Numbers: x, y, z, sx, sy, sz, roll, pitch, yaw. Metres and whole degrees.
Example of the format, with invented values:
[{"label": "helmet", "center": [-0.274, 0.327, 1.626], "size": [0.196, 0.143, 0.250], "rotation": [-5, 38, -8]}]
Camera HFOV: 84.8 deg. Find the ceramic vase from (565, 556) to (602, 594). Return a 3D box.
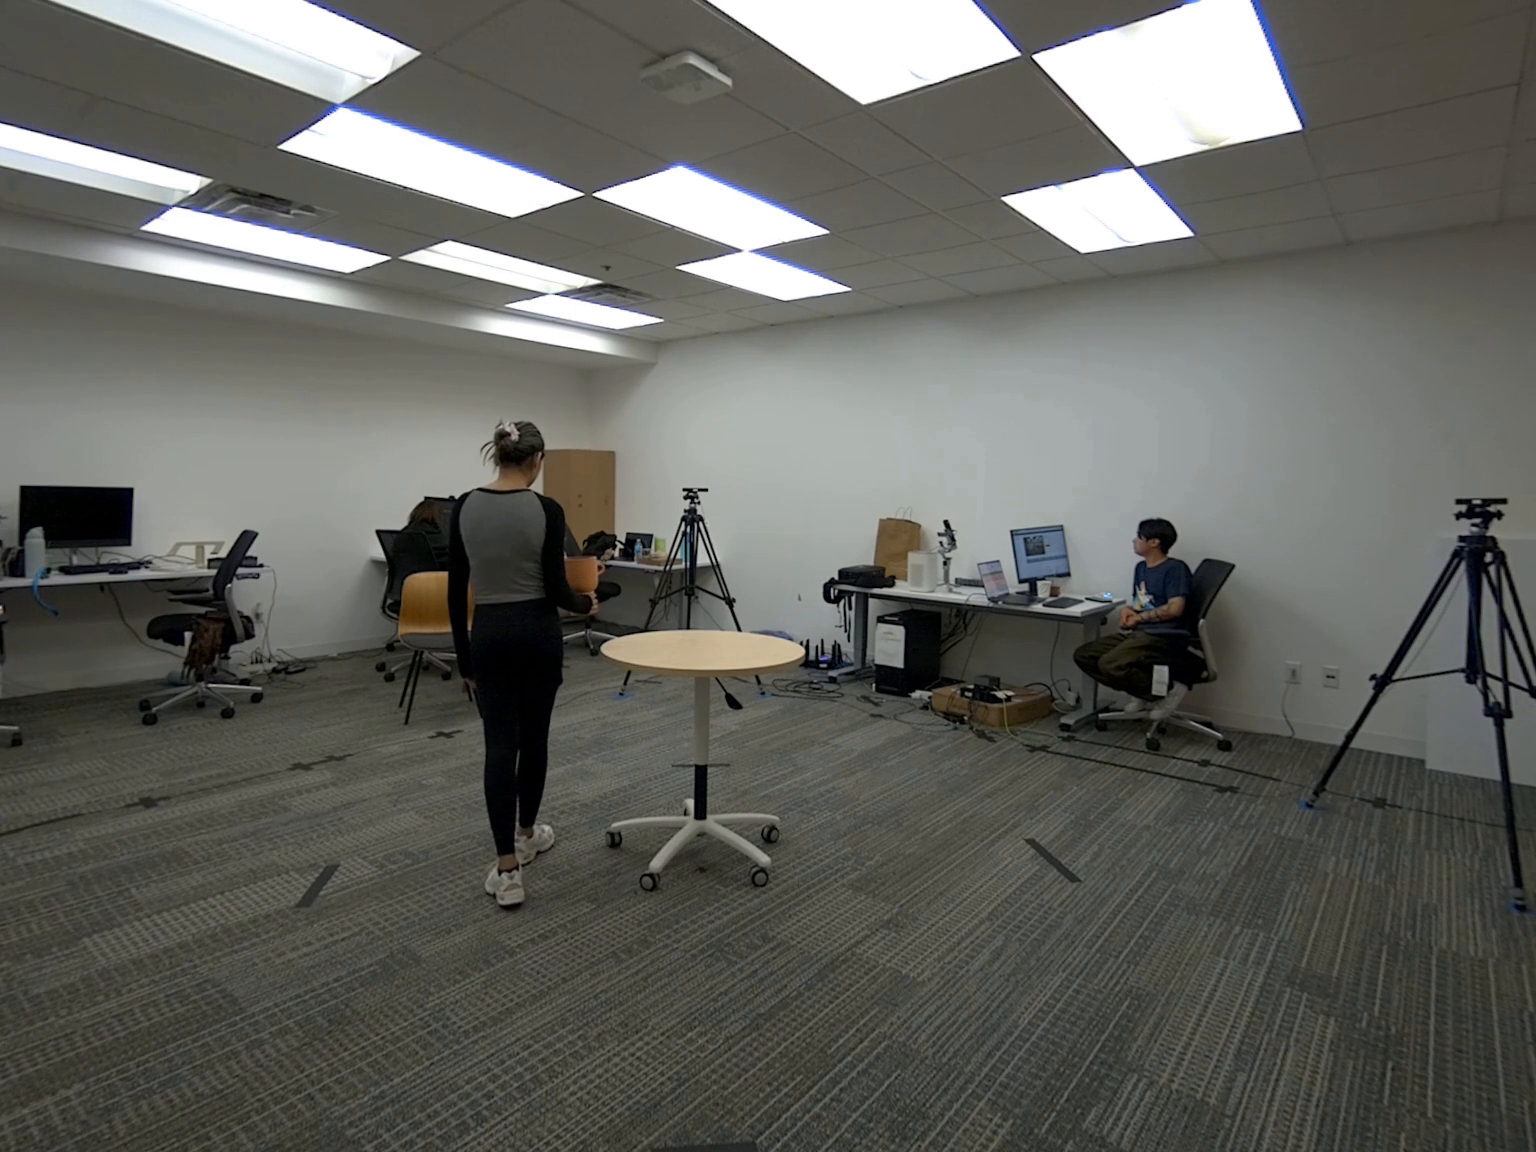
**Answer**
[{"label": "ceramic vase", "center": [-0.737, 0.035, 3.303], "size": [0.160, 0.220, 0.133], "rotation": [-3, 1, 10]}]
